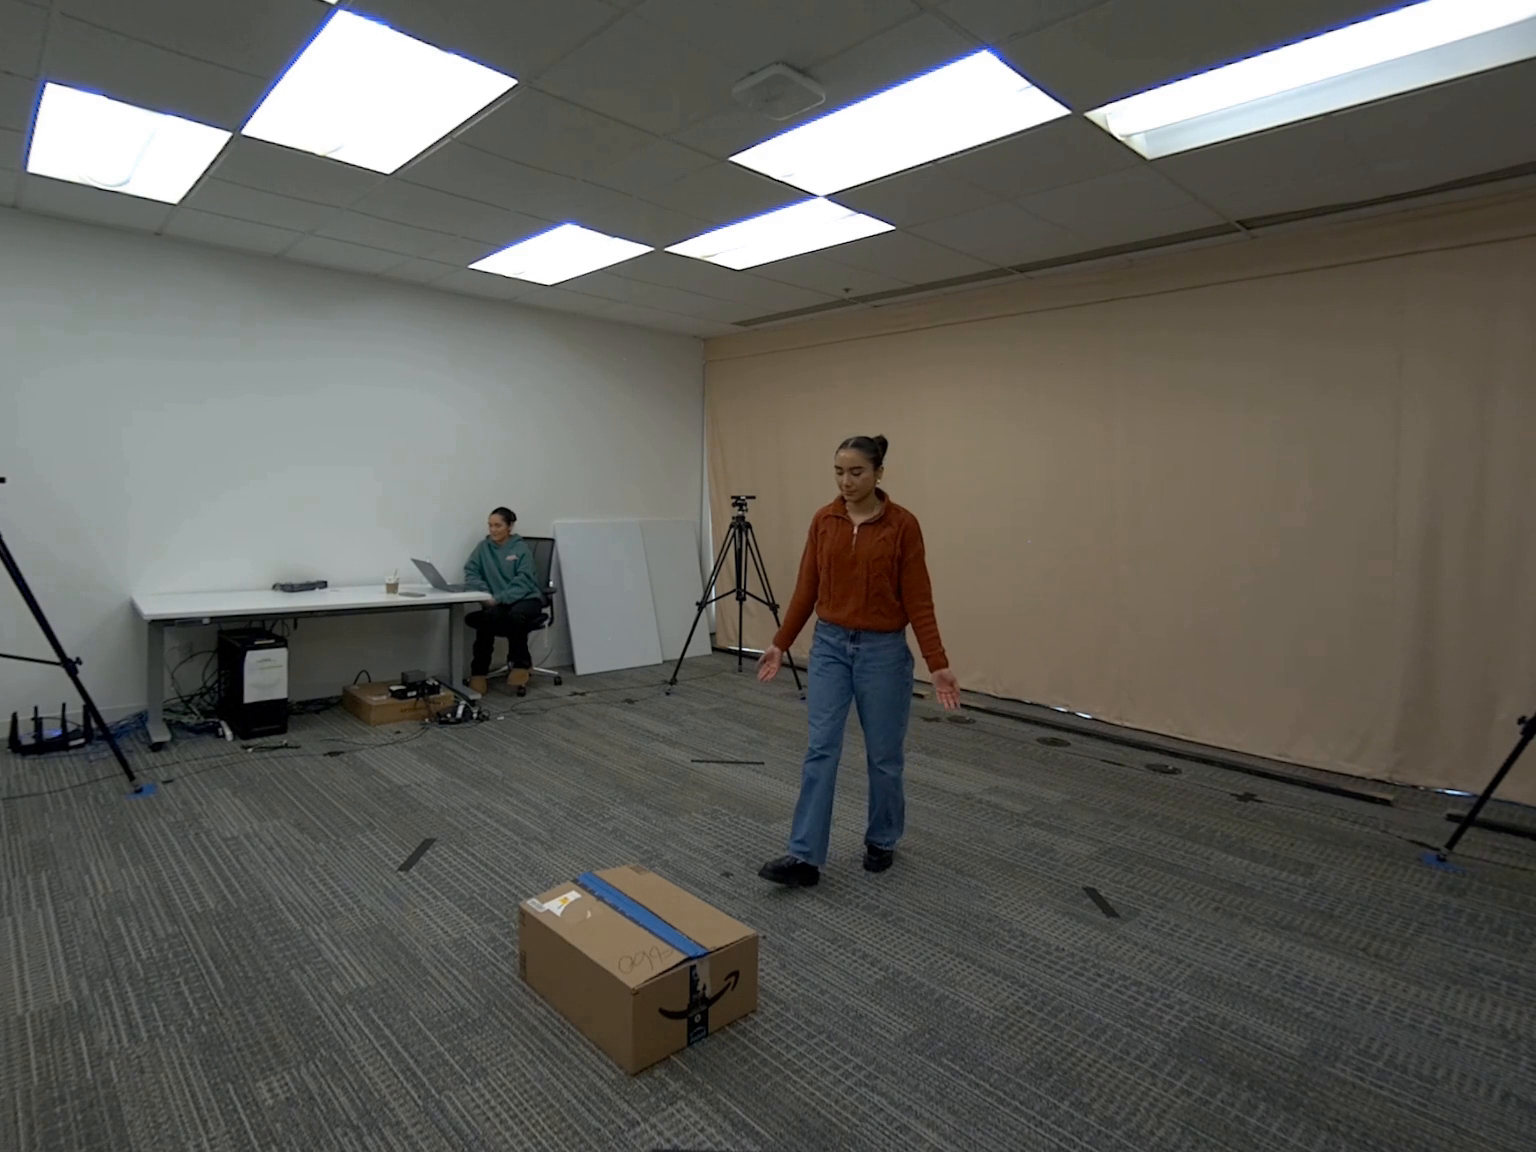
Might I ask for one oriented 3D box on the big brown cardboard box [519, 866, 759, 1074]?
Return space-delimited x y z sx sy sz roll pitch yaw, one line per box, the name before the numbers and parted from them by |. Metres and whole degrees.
big brown cardboard box | -0.380 1.057 2.350 0.408 0.232 0.604 -3 8 -44
